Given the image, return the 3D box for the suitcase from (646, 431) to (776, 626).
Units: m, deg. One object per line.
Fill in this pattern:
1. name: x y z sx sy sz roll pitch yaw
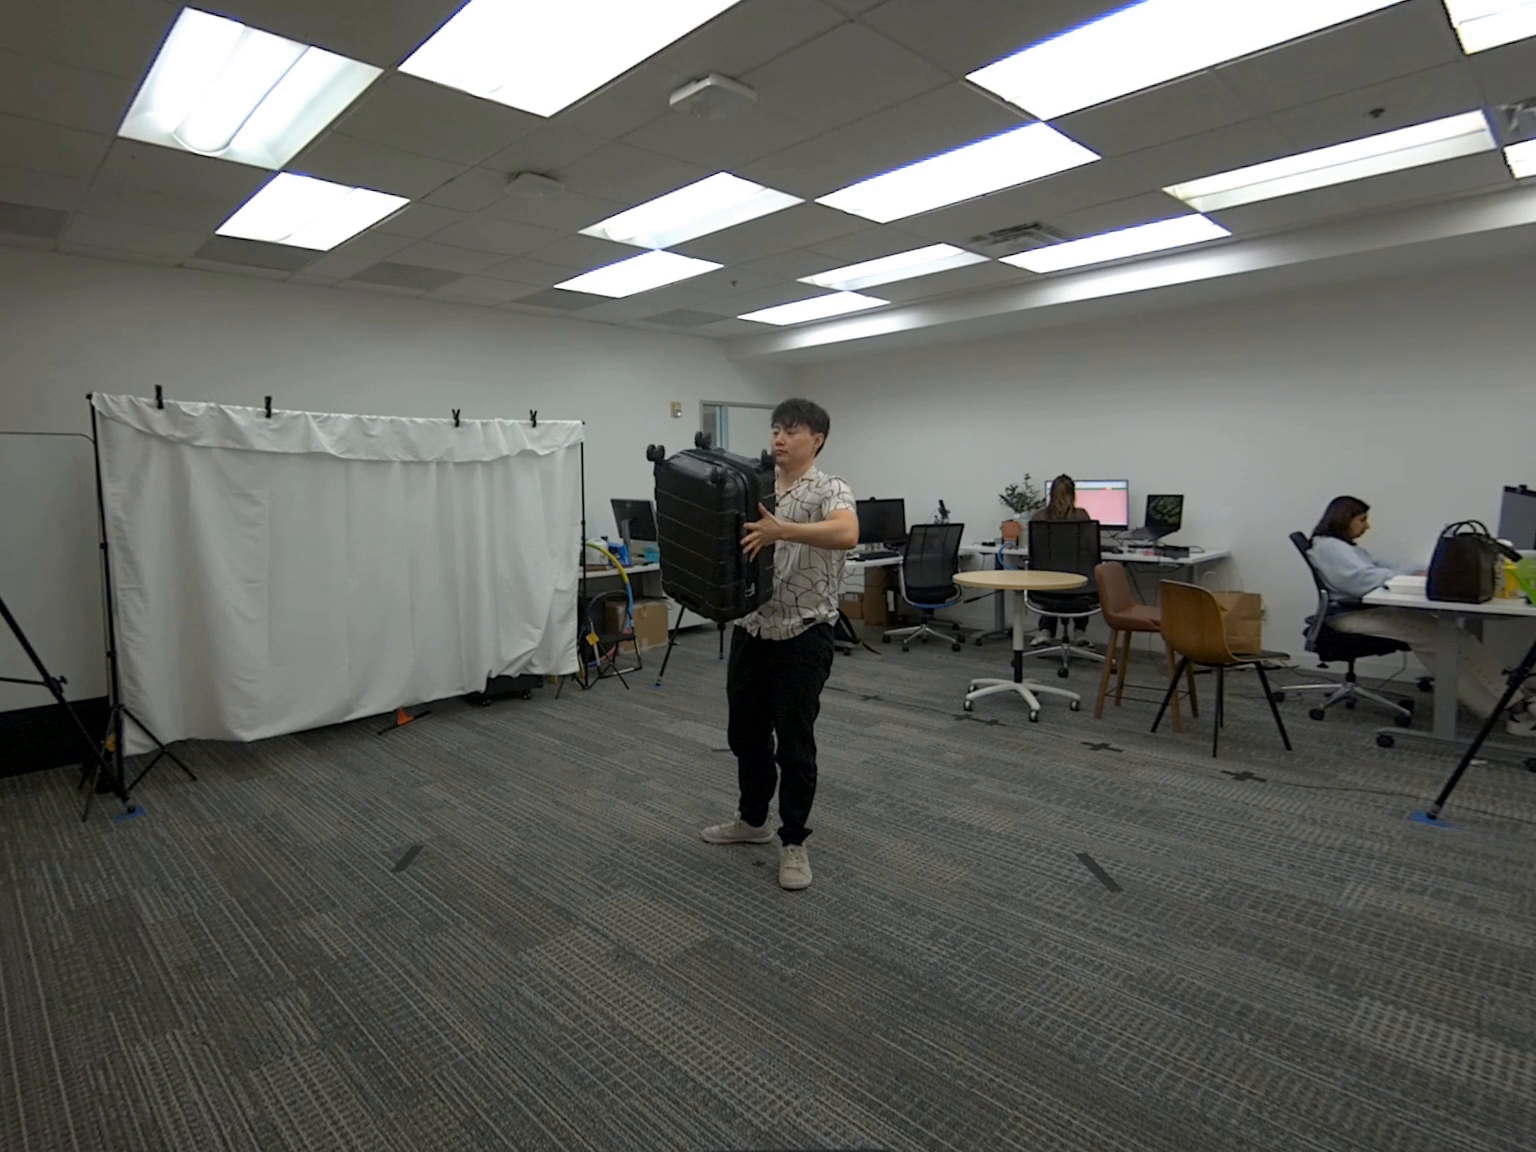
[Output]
1. suitcase: -0.169 -0.153 2.728 0.244 0.538 0.389 -22 32 -39
